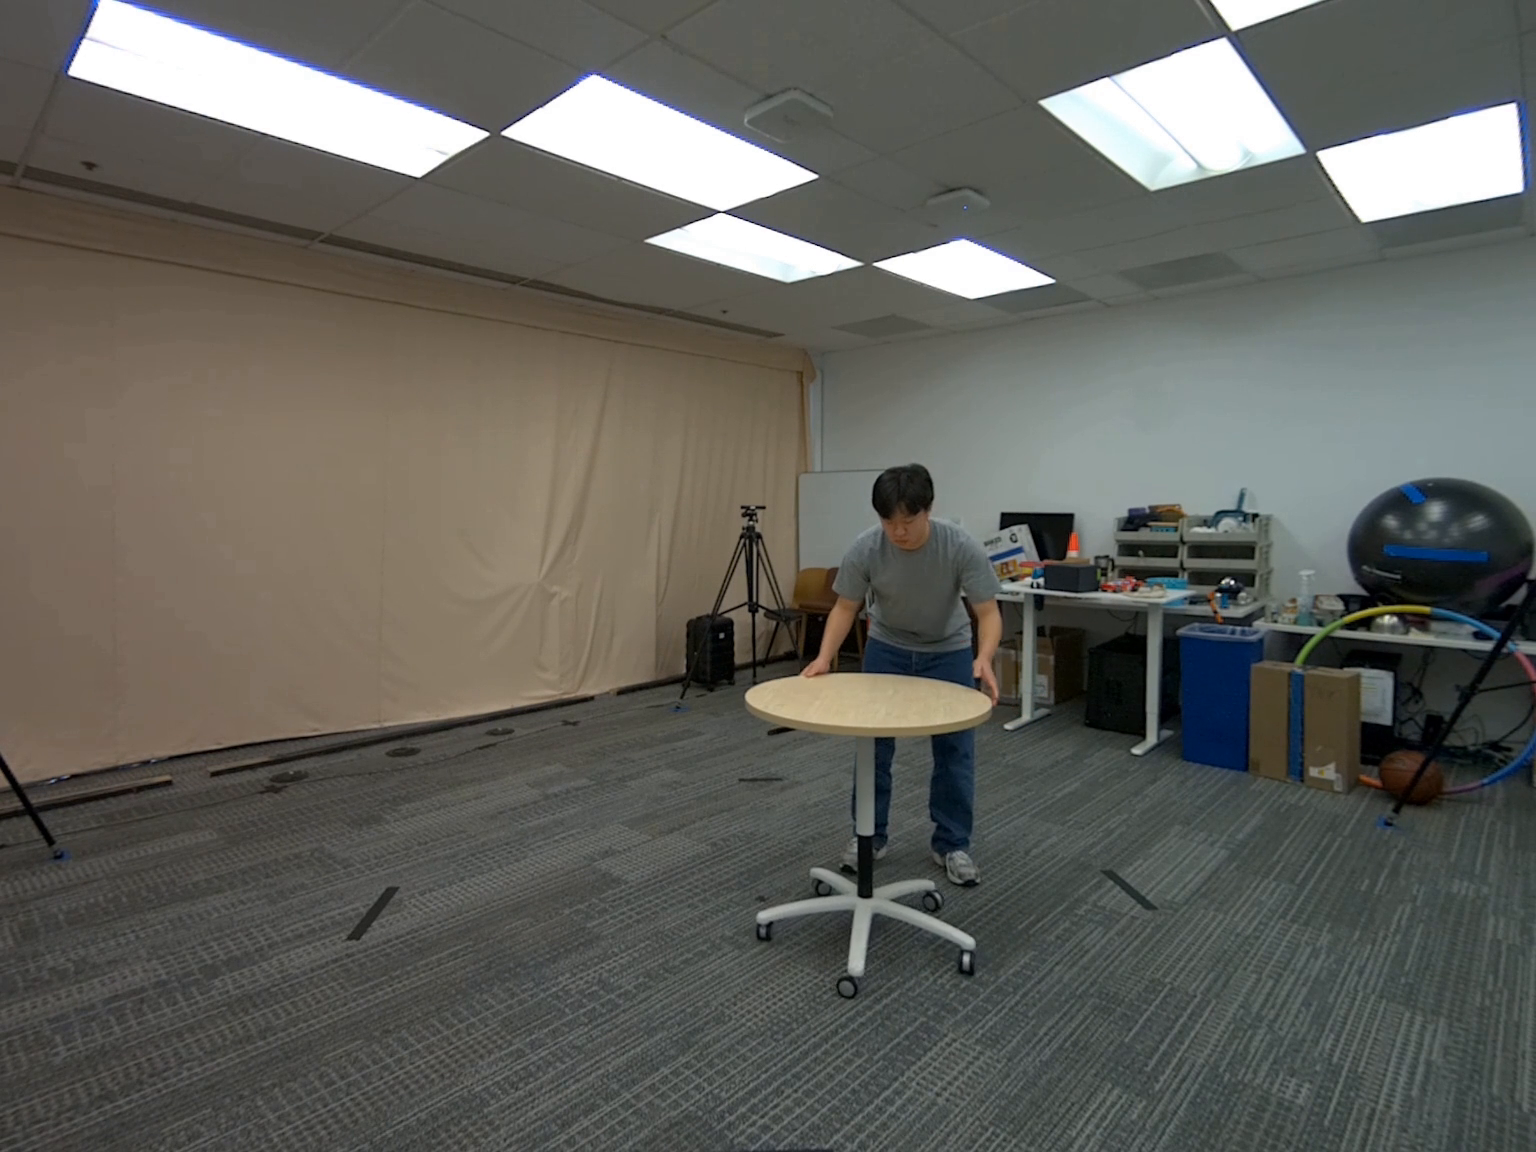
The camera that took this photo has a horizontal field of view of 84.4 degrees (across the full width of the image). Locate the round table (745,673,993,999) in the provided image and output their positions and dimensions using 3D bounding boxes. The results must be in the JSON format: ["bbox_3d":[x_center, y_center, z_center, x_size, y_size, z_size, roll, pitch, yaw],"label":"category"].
[{"bbox_3d":[0.320,0.776,2.693,0.763,0.792,0.766,-1,4,-2],"label":"round table"}]
